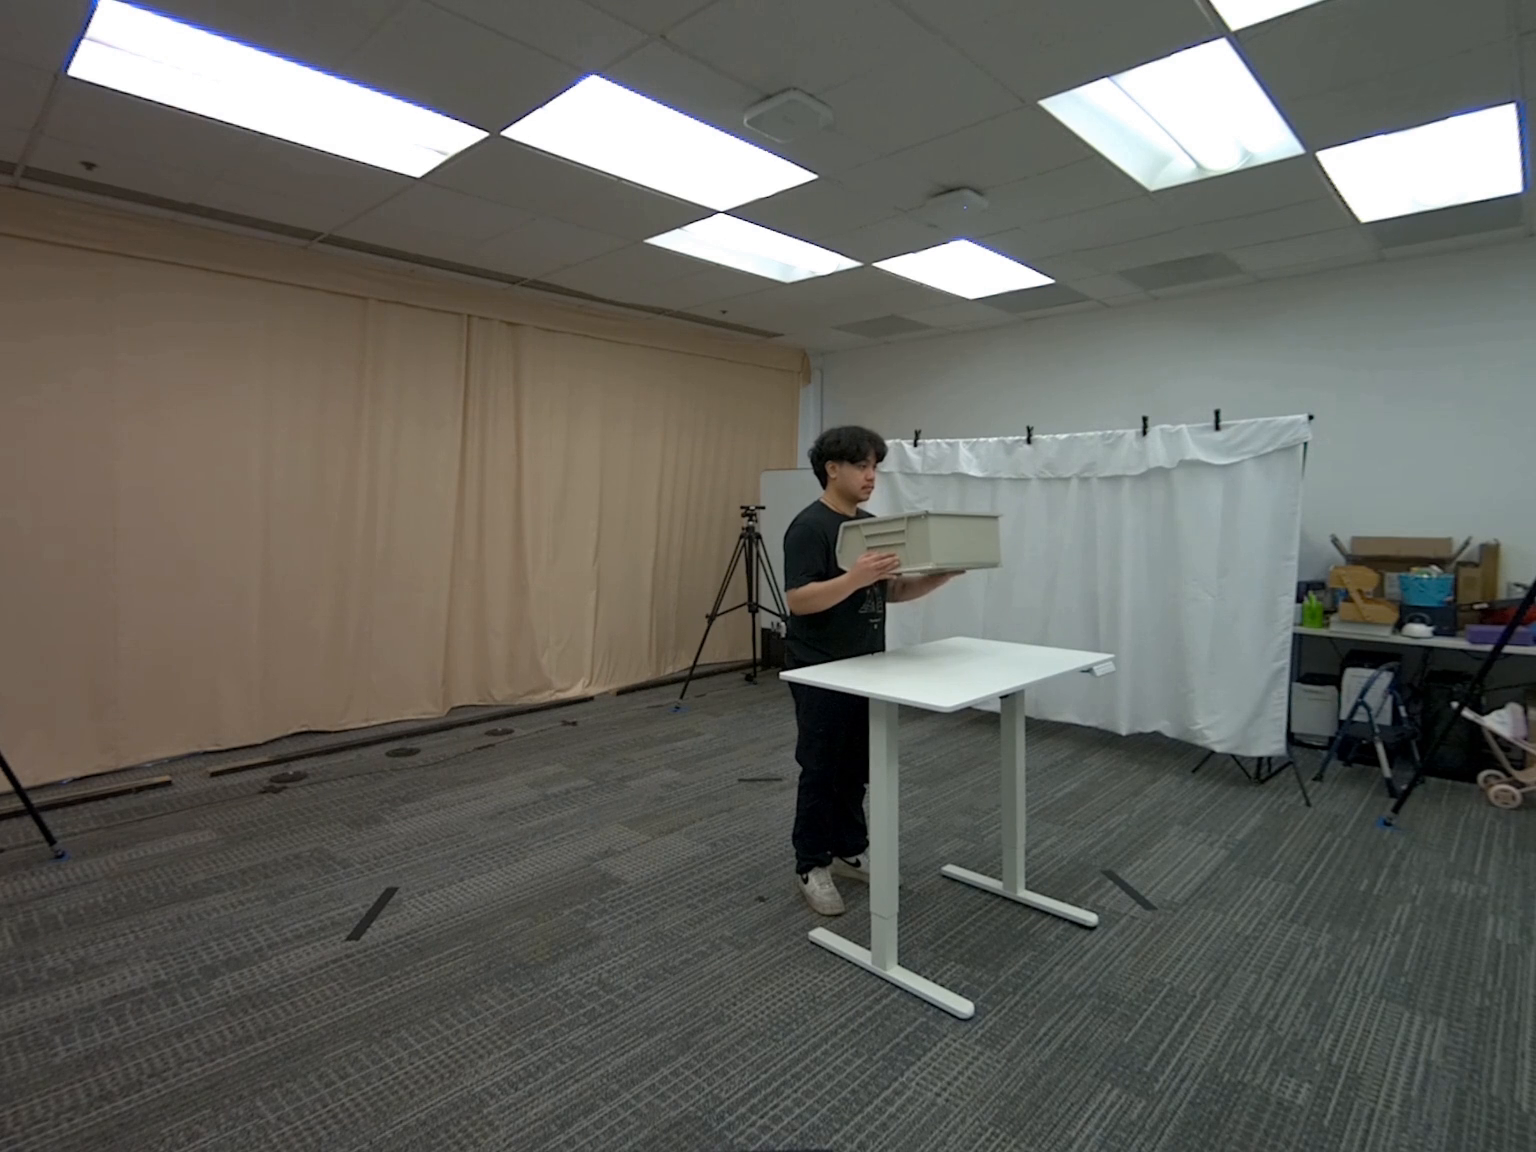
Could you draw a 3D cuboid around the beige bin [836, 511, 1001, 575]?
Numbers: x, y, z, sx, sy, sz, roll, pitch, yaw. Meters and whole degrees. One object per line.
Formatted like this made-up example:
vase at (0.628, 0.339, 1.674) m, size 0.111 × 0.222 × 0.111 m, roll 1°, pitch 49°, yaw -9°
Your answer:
beige bin at (0.506, -0.096, 2.783) m, size 0.409 × 0.189 × 0.389 m, roll -1°, pitch -3°, yaw -42°
